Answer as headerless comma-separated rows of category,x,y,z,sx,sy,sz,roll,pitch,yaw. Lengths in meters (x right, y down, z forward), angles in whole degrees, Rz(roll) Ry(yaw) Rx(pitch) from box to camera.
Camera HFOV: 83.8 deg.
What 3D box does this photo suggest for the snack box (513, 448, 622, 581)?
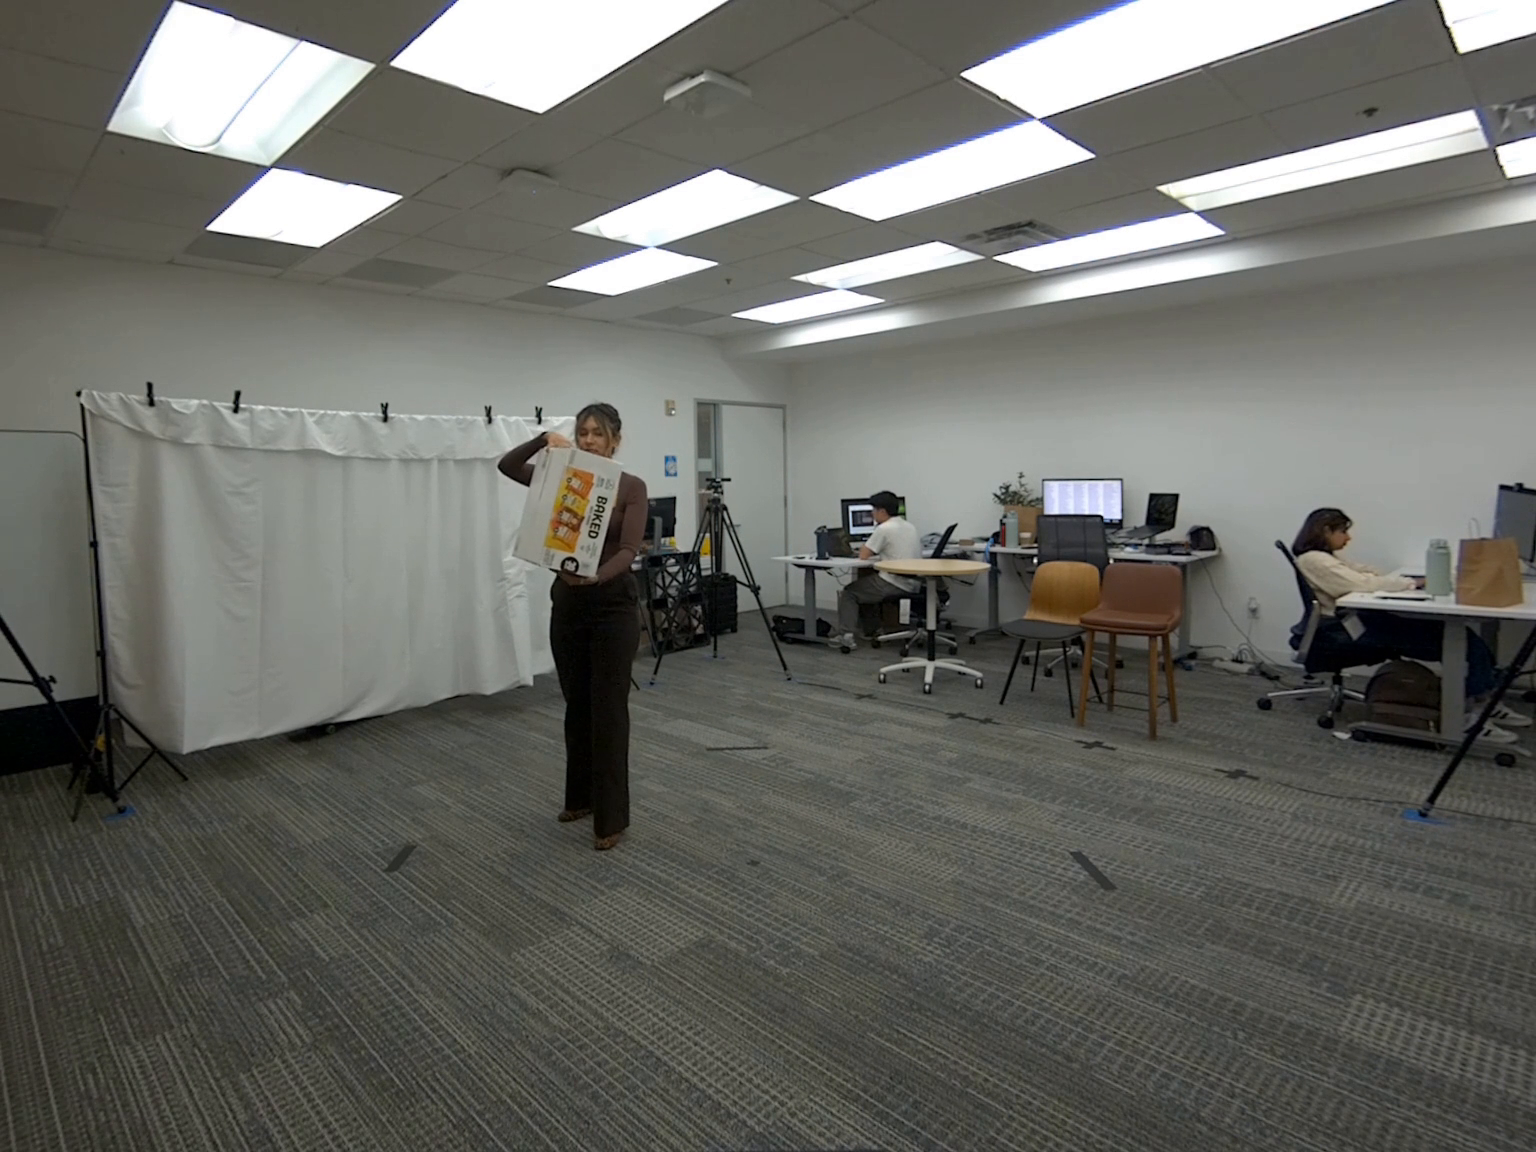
snack box,-0.717,-0.225,3.011,0.199,0.406,0.350,15,-2,-32
